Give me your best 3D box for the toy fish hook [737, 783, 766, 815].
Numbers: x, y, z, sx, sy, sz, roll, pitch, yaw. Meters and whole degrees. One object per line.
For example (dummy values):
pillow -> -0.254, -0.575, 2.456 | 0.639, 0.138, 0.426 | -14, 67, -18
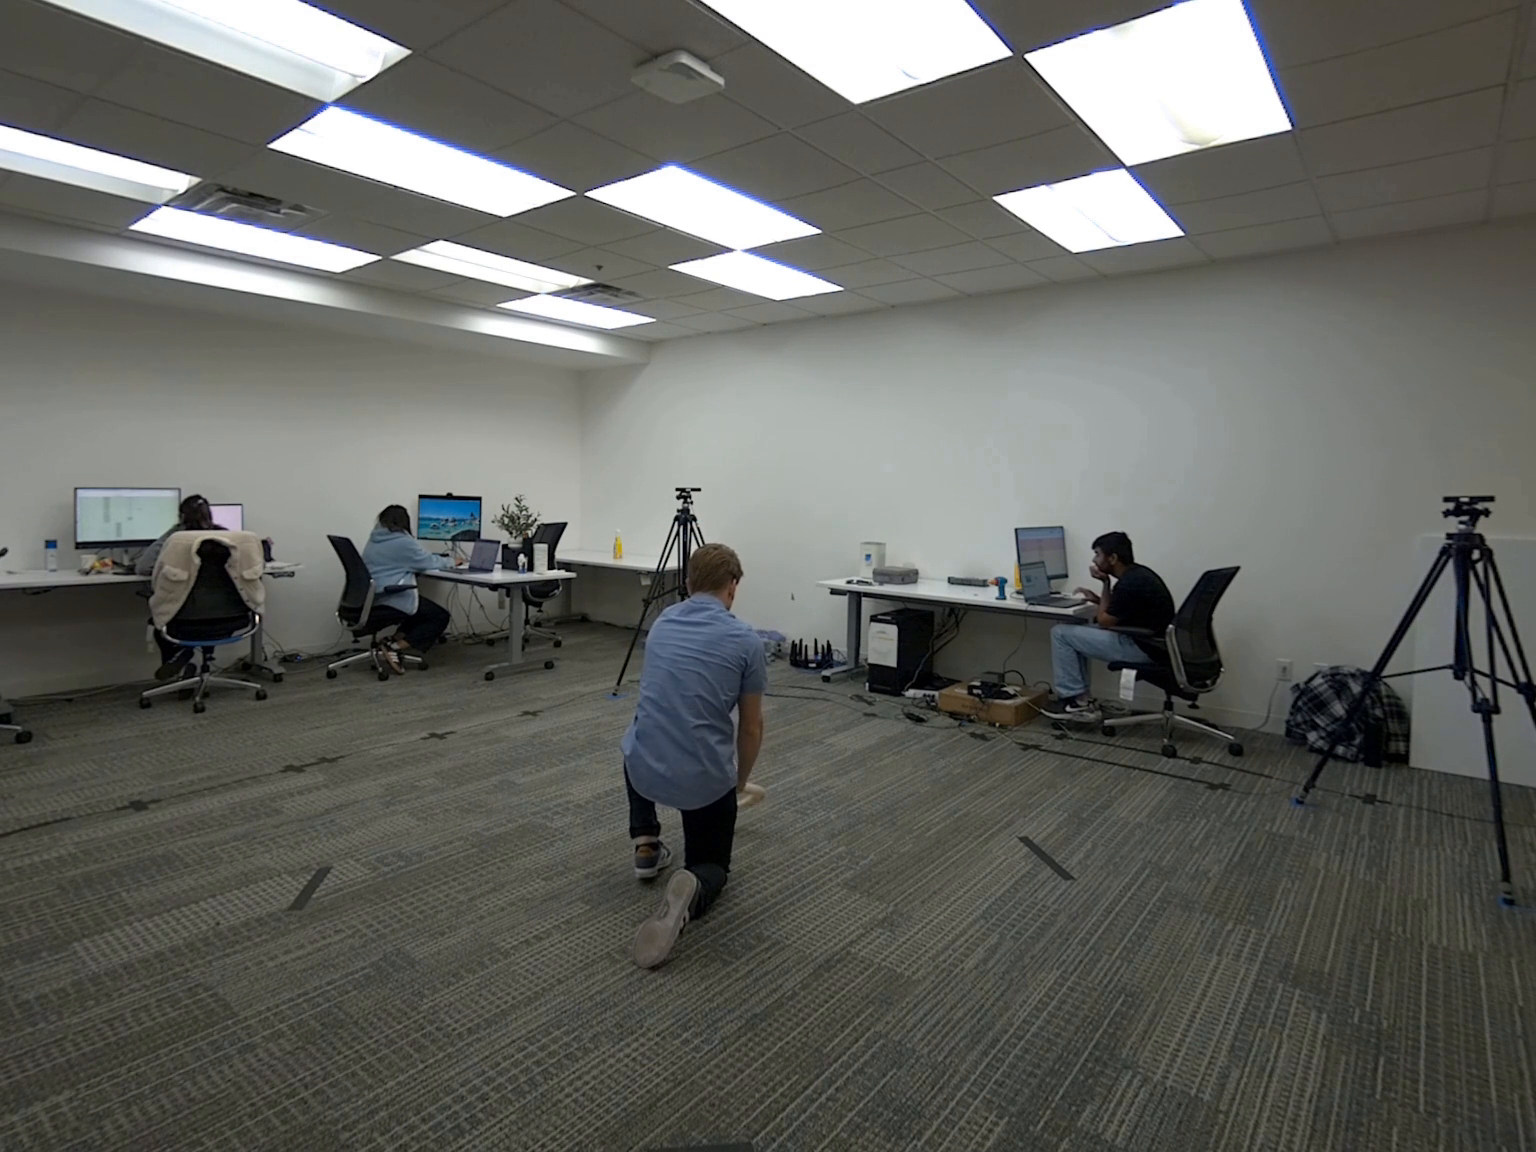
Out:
toy fish hook -> -0.157, 0.837, 3.299 | 0.224, 0.050, 0.489 | -30, -29, -4
